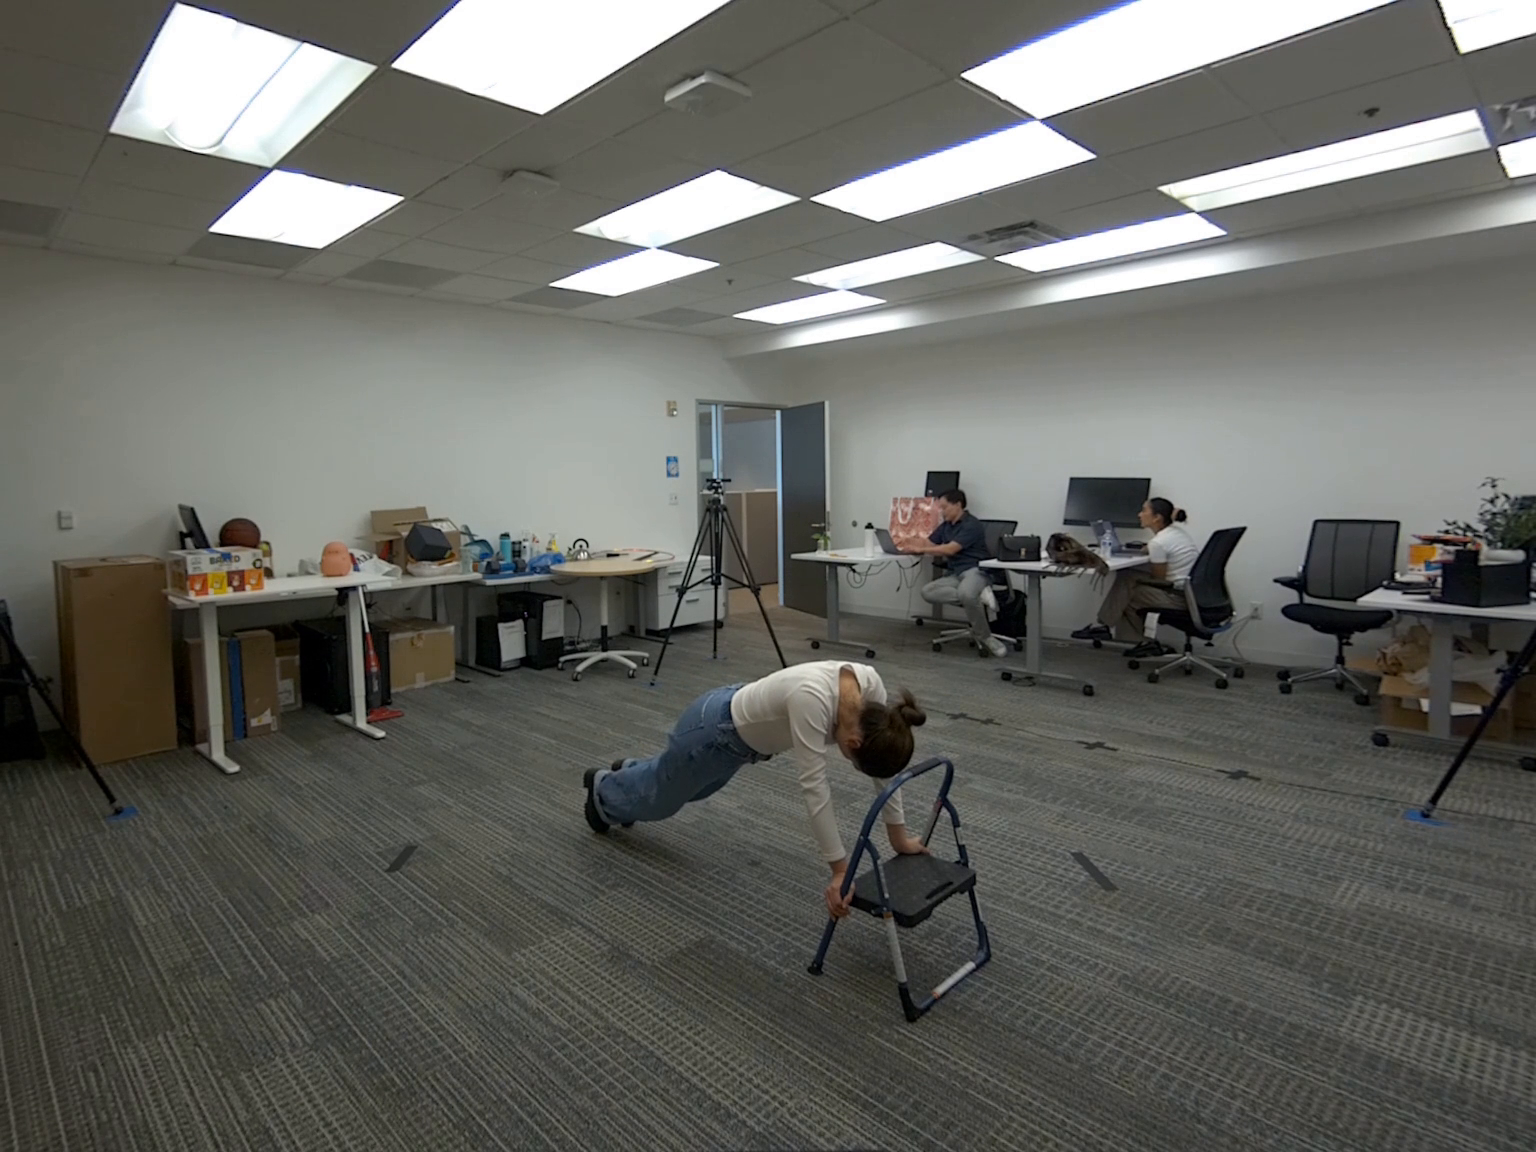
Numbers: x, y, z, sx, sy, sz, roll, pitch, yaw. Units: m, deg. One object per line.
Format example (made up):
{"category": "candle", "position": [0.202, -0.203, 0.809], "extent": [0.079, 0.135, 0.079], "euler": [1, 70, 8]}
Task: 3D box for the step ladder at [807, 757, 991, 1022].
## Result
{"category": "step ladder", "position": [0.383, 0.817, 2.425], "extent": [0.360, 0.604, 0.419], "euler": [3, 6, 43]}
